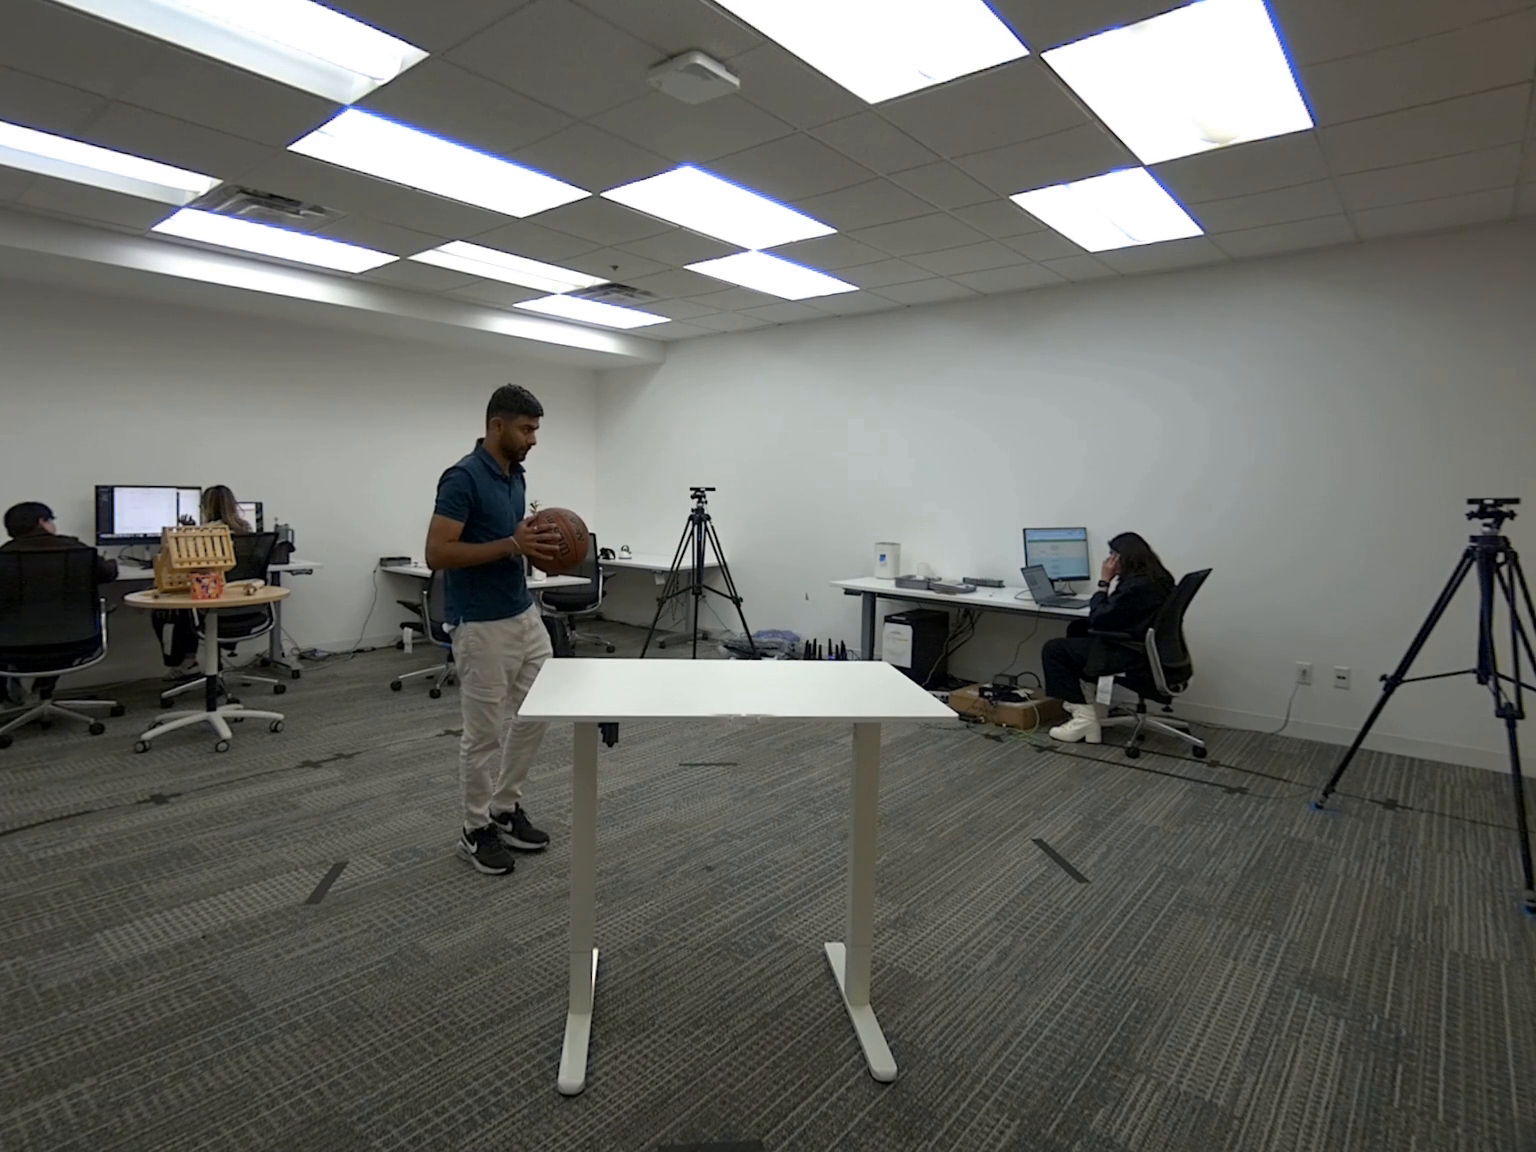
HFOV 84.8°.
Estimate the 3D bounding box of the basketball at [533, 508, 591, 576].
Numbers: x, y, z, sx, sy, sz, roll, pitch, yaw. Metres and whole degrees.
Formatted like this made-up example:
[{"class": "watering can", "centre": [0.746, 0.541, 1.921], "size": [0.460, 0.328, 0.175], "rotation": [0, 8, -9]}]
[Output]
[{"class": "basketball", "centre": [-0.765, -0.125, 3.023], "size": [0.235, 0.235, 0.237], "rotation": [1, 4, -2]}]
